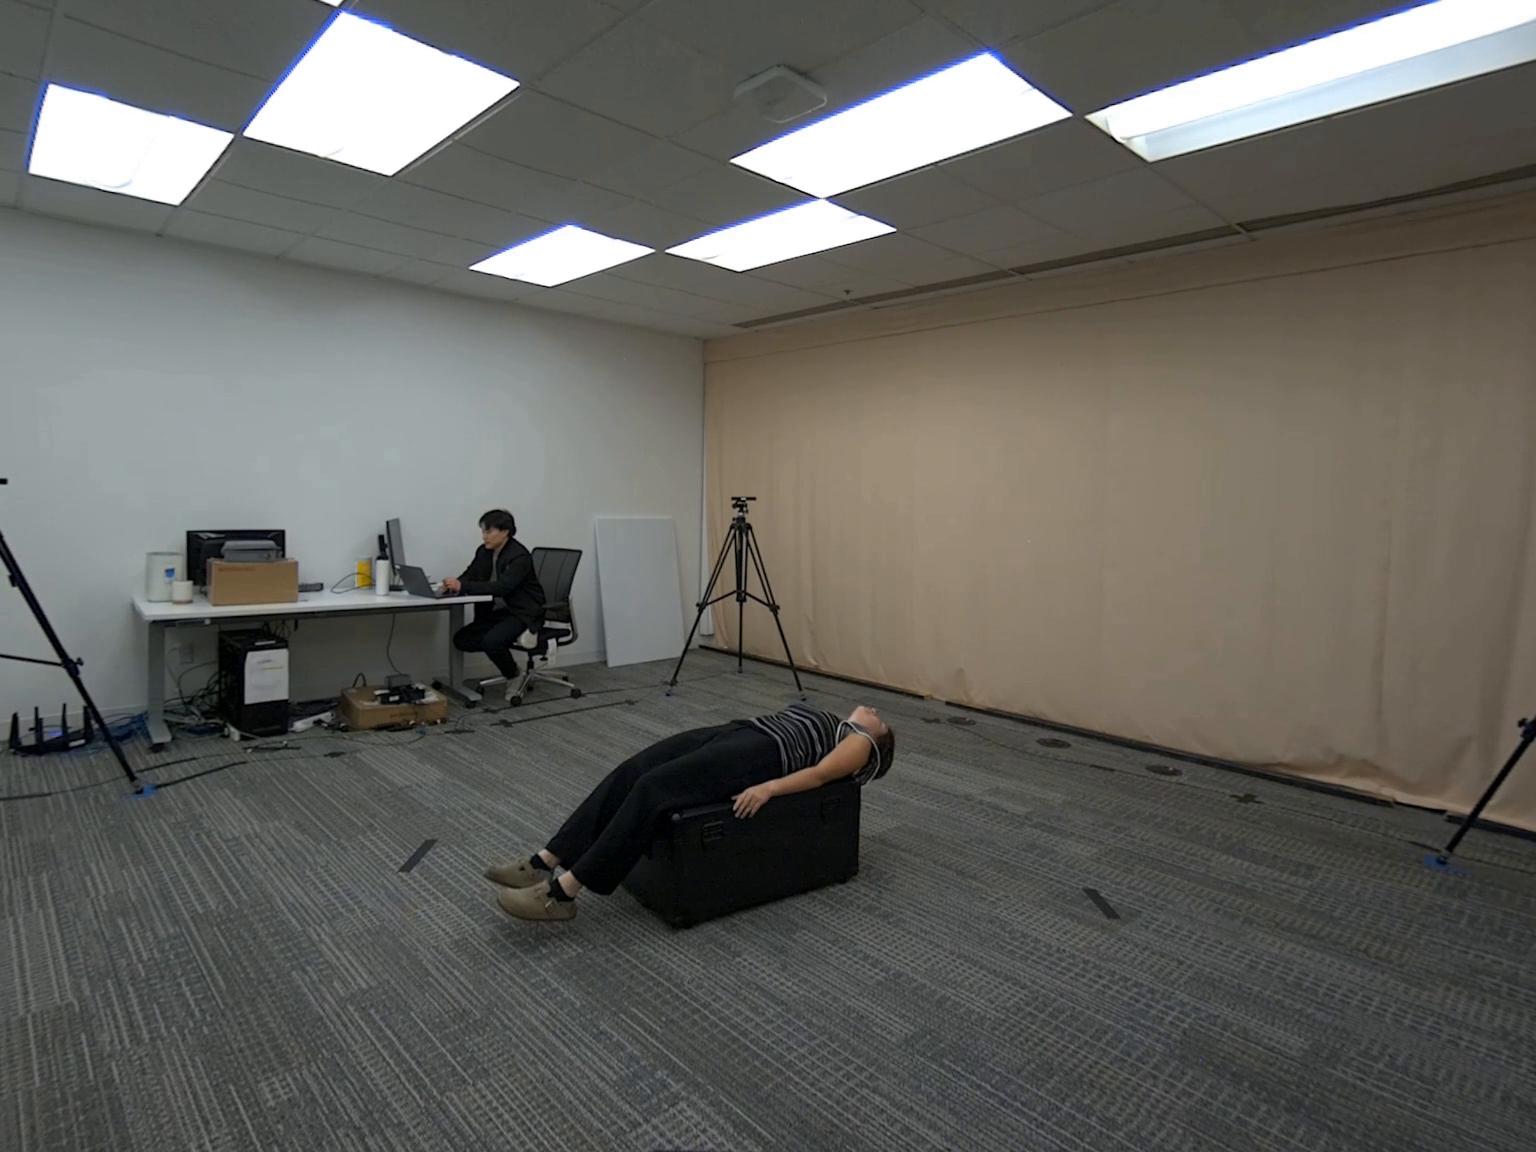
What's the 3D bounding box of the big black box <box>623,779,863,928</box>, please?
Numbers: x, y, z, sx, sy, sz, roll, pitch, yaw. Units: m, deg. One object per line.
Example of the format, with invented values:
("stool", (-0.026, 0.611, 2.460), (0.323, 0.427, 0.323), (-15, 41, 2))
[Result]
("big black box", (-0.095, 0.926, 3.091), (0.843, 0.395, 0.533), (-3, 4, -33))
